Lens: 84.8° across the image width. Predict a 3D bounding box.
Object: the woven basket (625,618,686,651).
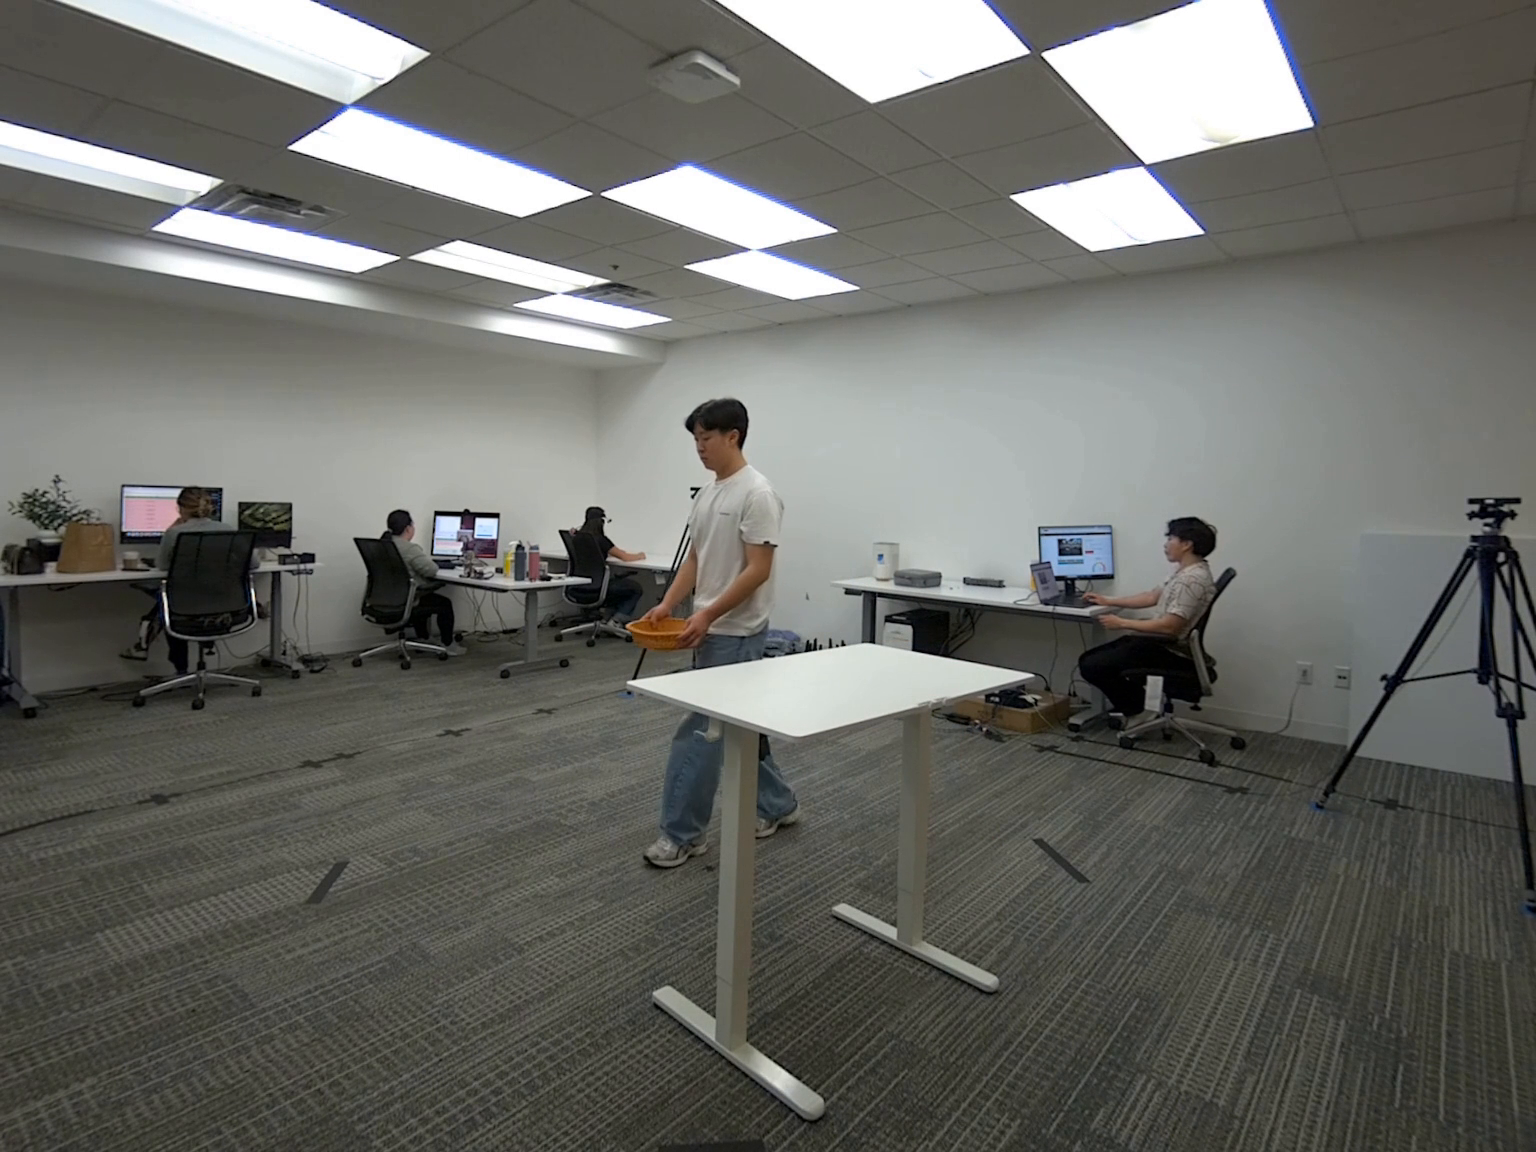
[{"bbox_3d":[-0.378,0.209,3.170,0.245,0.073,0.362,-7,8,-38],"label":"woven basket"}]
